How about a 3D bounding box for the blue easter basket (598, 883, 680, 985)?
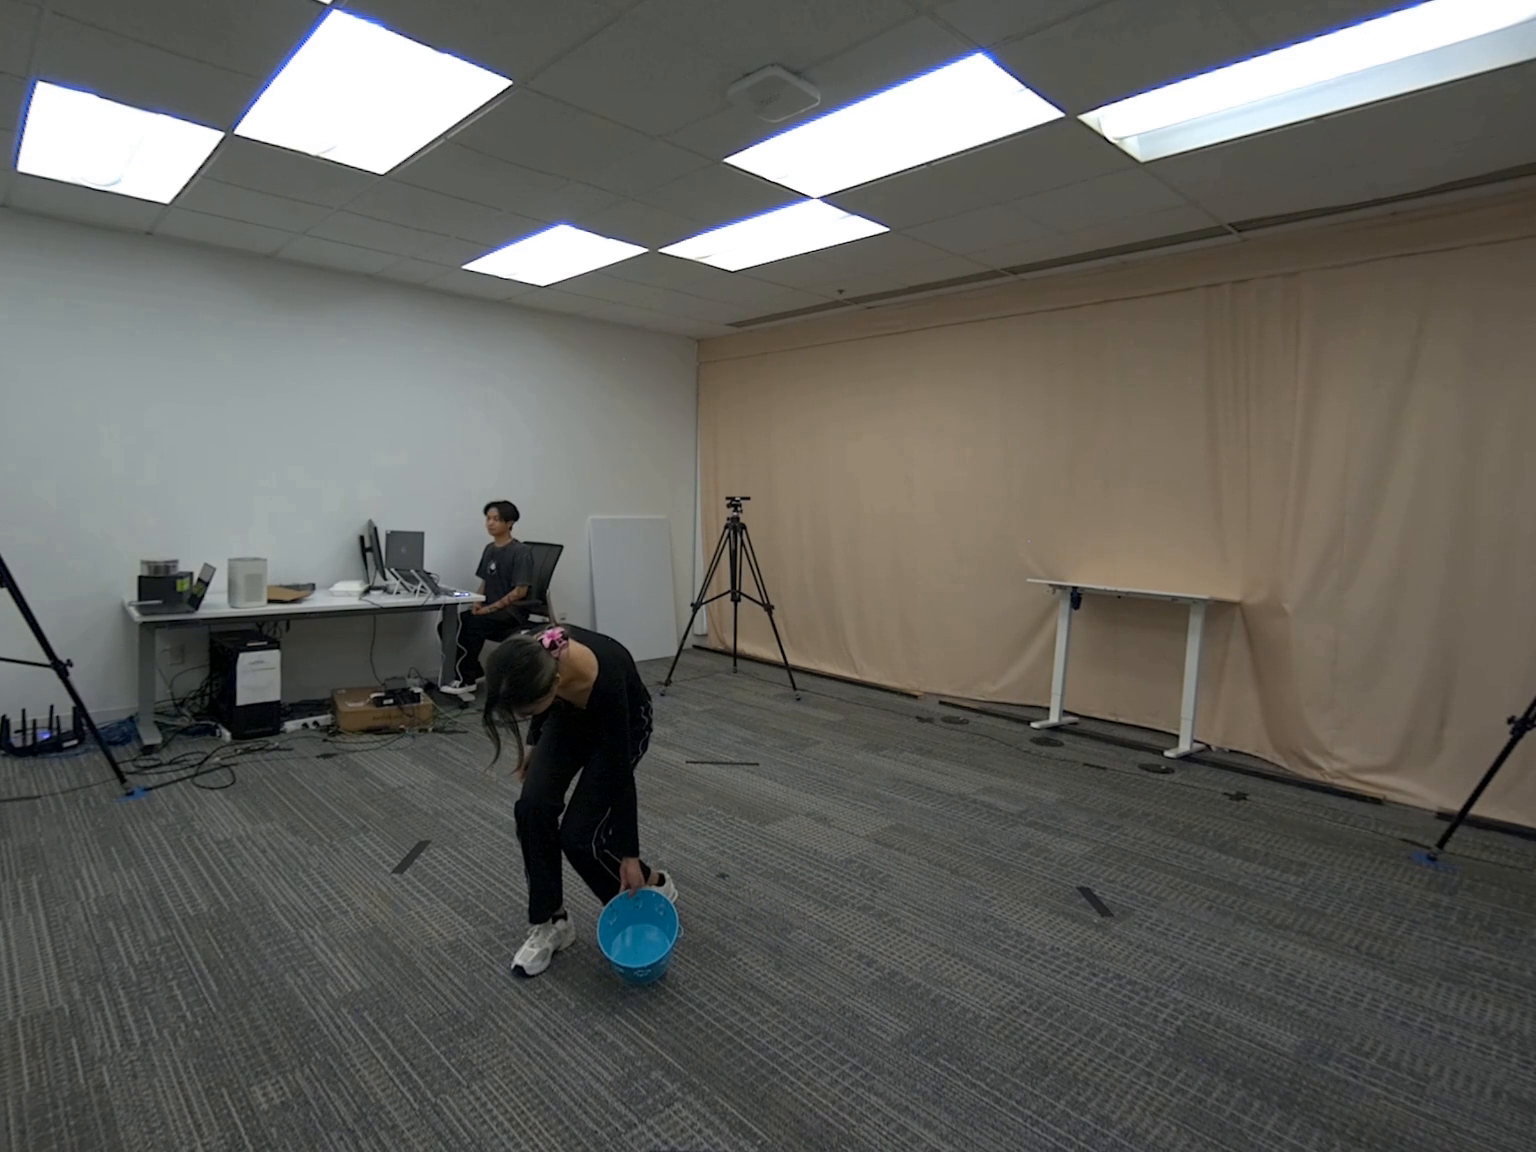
[{"bbox_3d":[-0.376,1.059,2.419,0.243,0.152,0.249,0,37,-1],"label":"blue easter basket"}]
